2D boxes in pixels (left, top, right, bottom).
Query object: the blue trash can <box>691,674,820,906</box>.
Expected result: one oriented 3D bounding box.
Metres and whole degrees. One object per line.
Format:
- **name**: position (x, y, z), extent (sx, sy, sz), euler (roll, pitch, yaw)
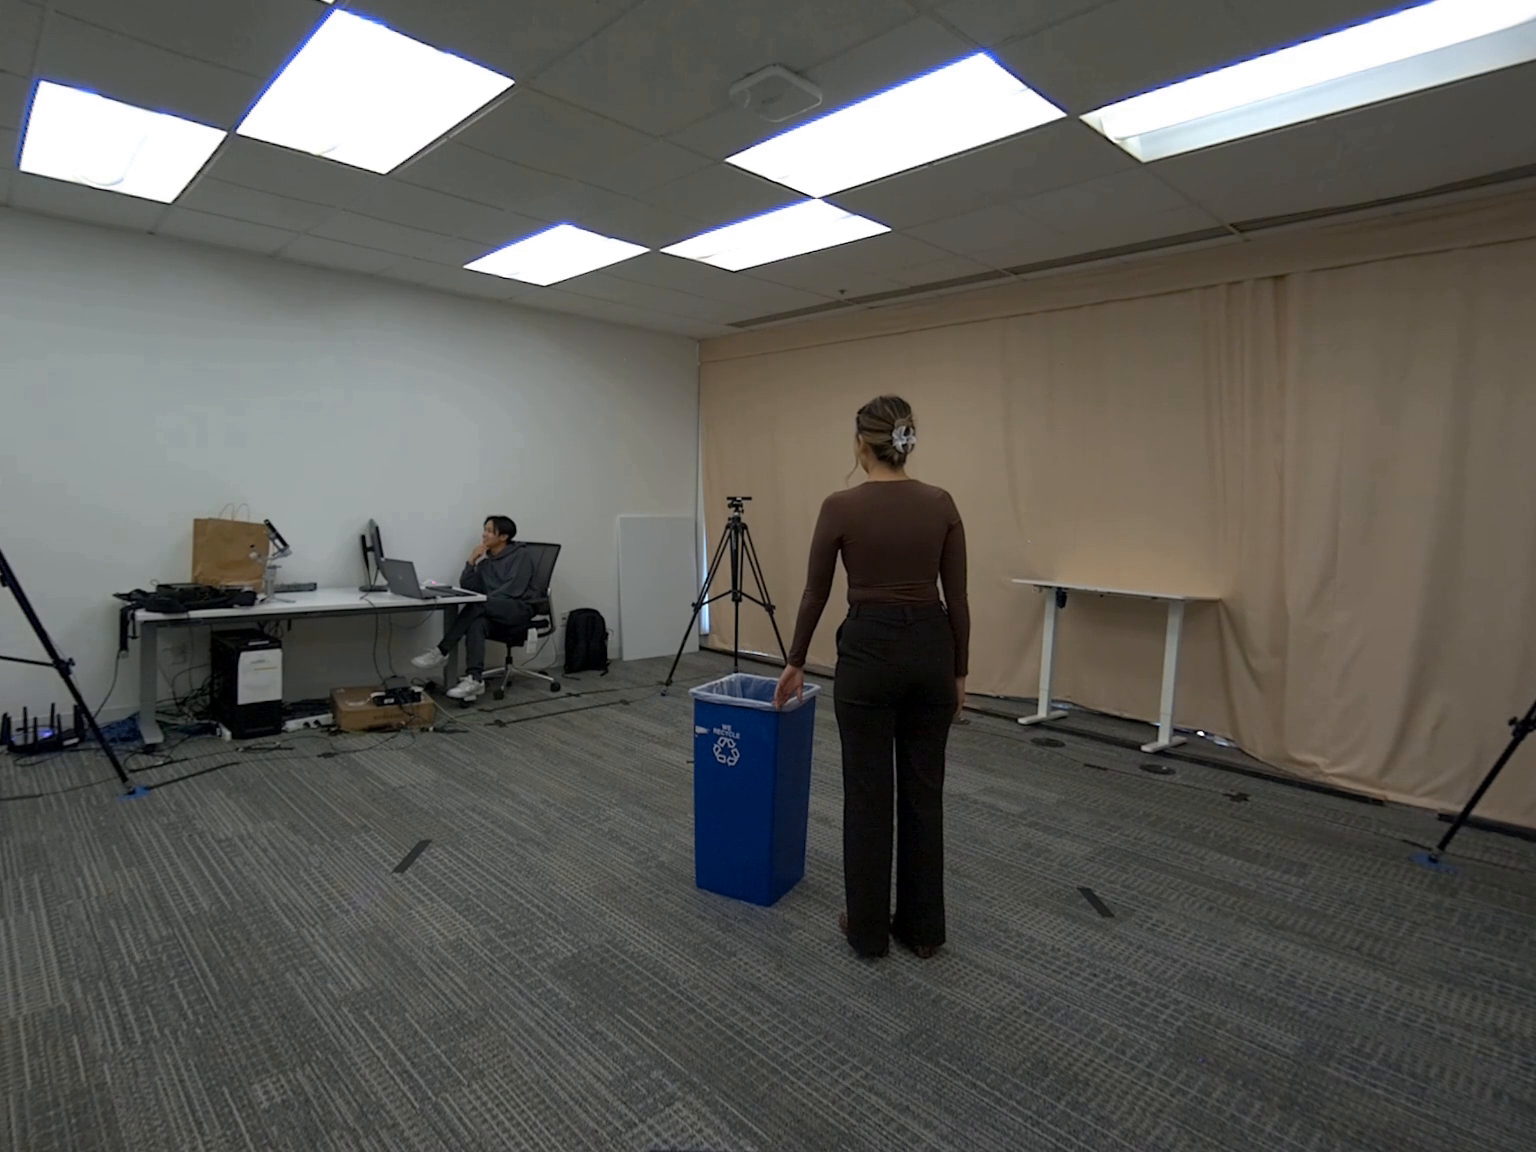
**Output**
- **blue trash can**: position (-0.054, 0.754, 3.045), extent (0.382, 0.712, 0.371), euler (3, 4, 28)
